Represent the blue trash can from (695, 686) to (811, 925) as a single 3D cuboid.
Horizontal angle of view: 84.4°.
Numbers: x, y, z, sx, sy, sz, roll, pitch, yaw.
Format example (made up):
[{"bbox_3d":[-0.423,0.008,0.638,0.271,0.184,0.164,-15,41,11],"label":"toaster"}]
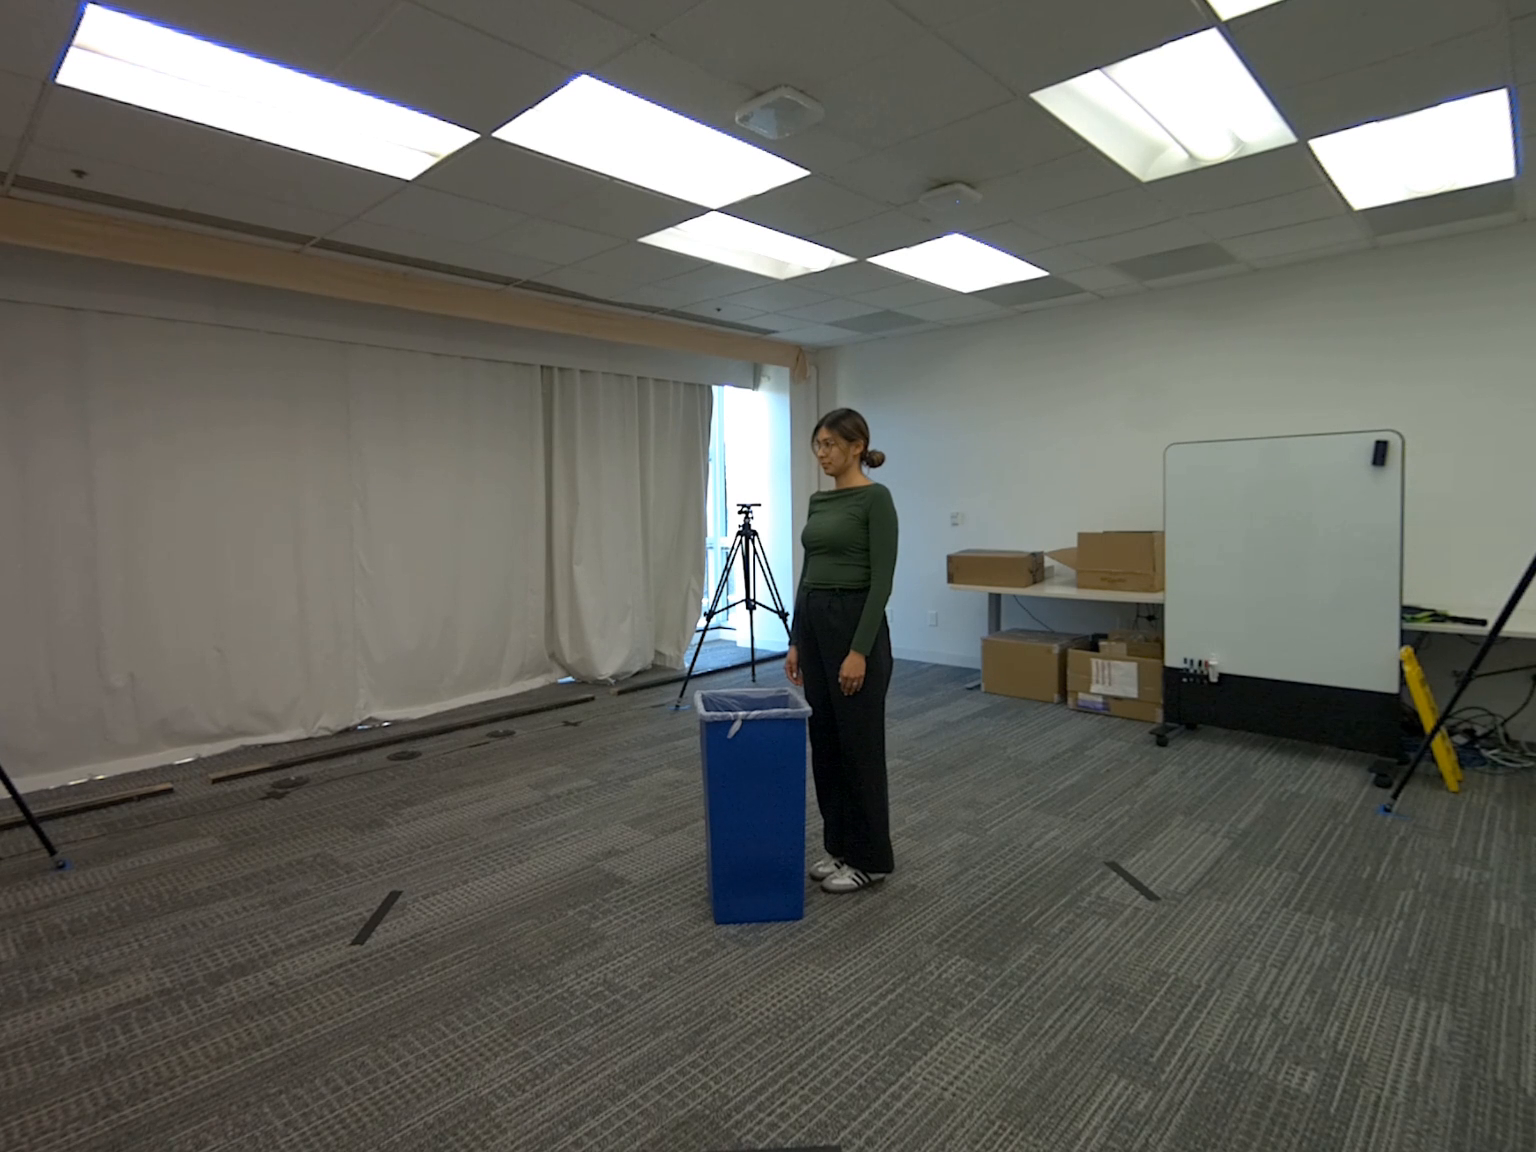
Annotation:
[{"bbox_3d":[-0.055,0.785,2.924,0.372,0.712,0.381,0,3,-6],"label":"blue trash can"}]
